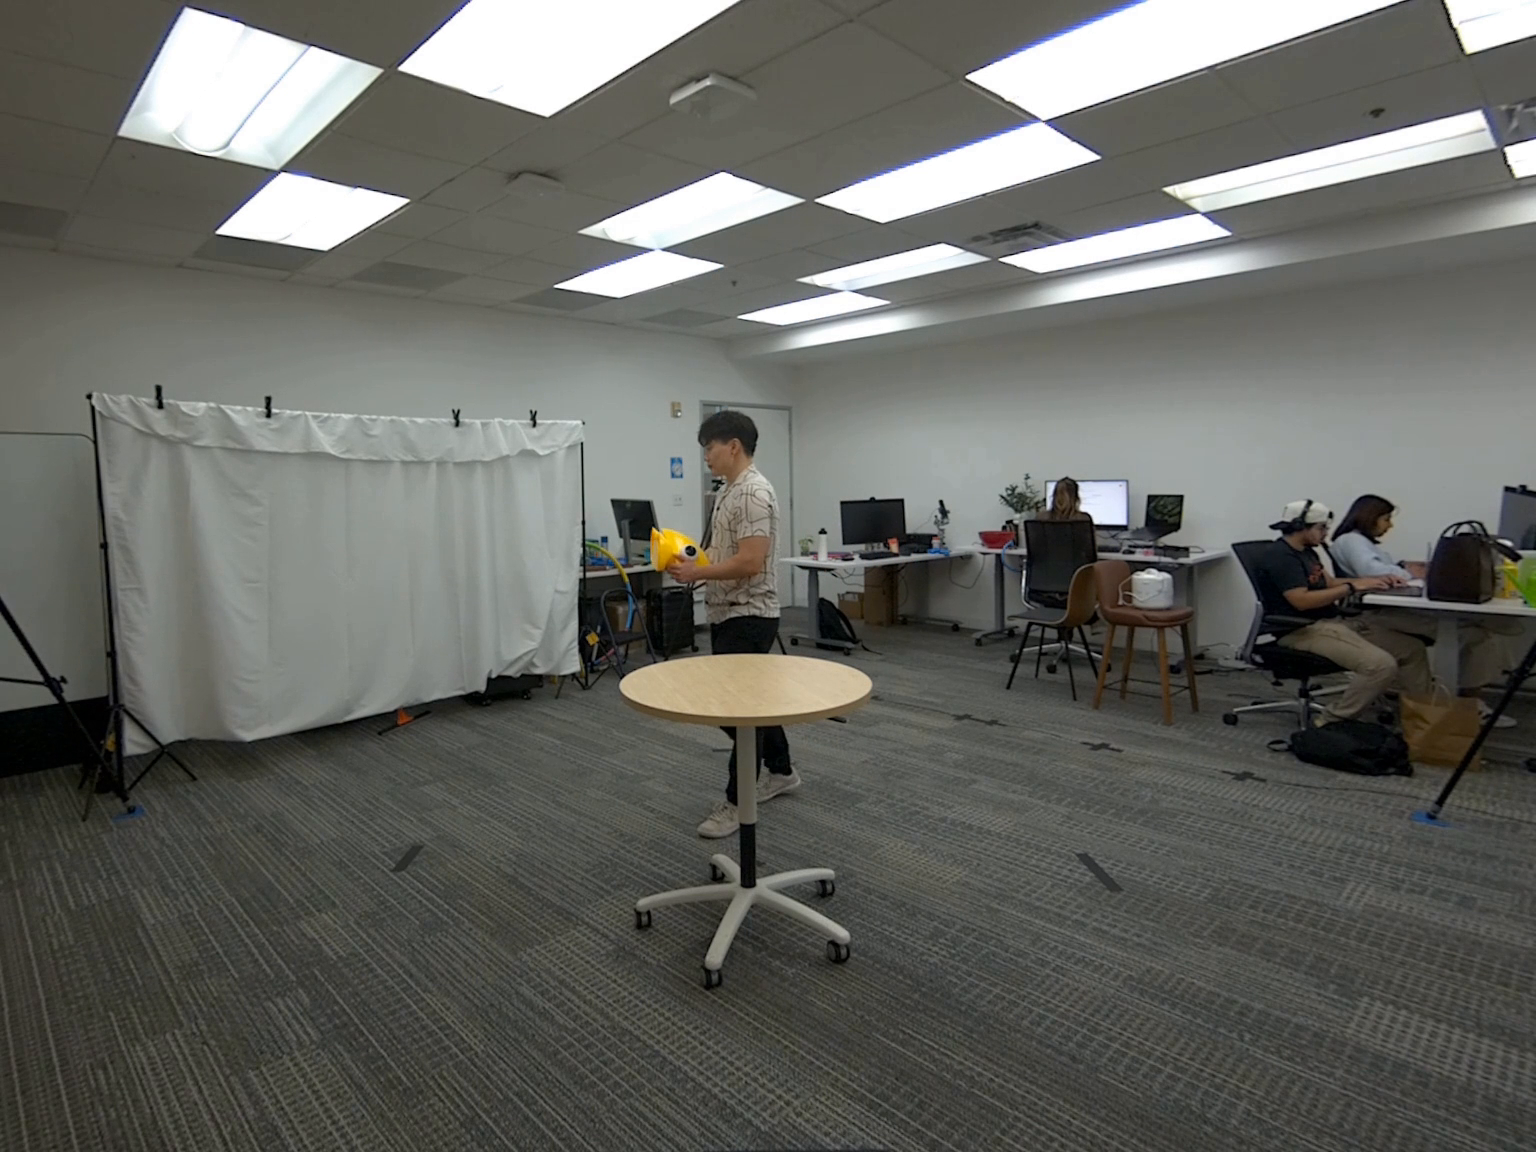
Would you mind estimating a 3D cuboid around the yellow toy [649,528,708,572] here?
[{"bbox_3d":[-0.342,-0.099,3.451,0.228,0.191,0.209,-3,11,-14],"label":"yellow toy"}]
